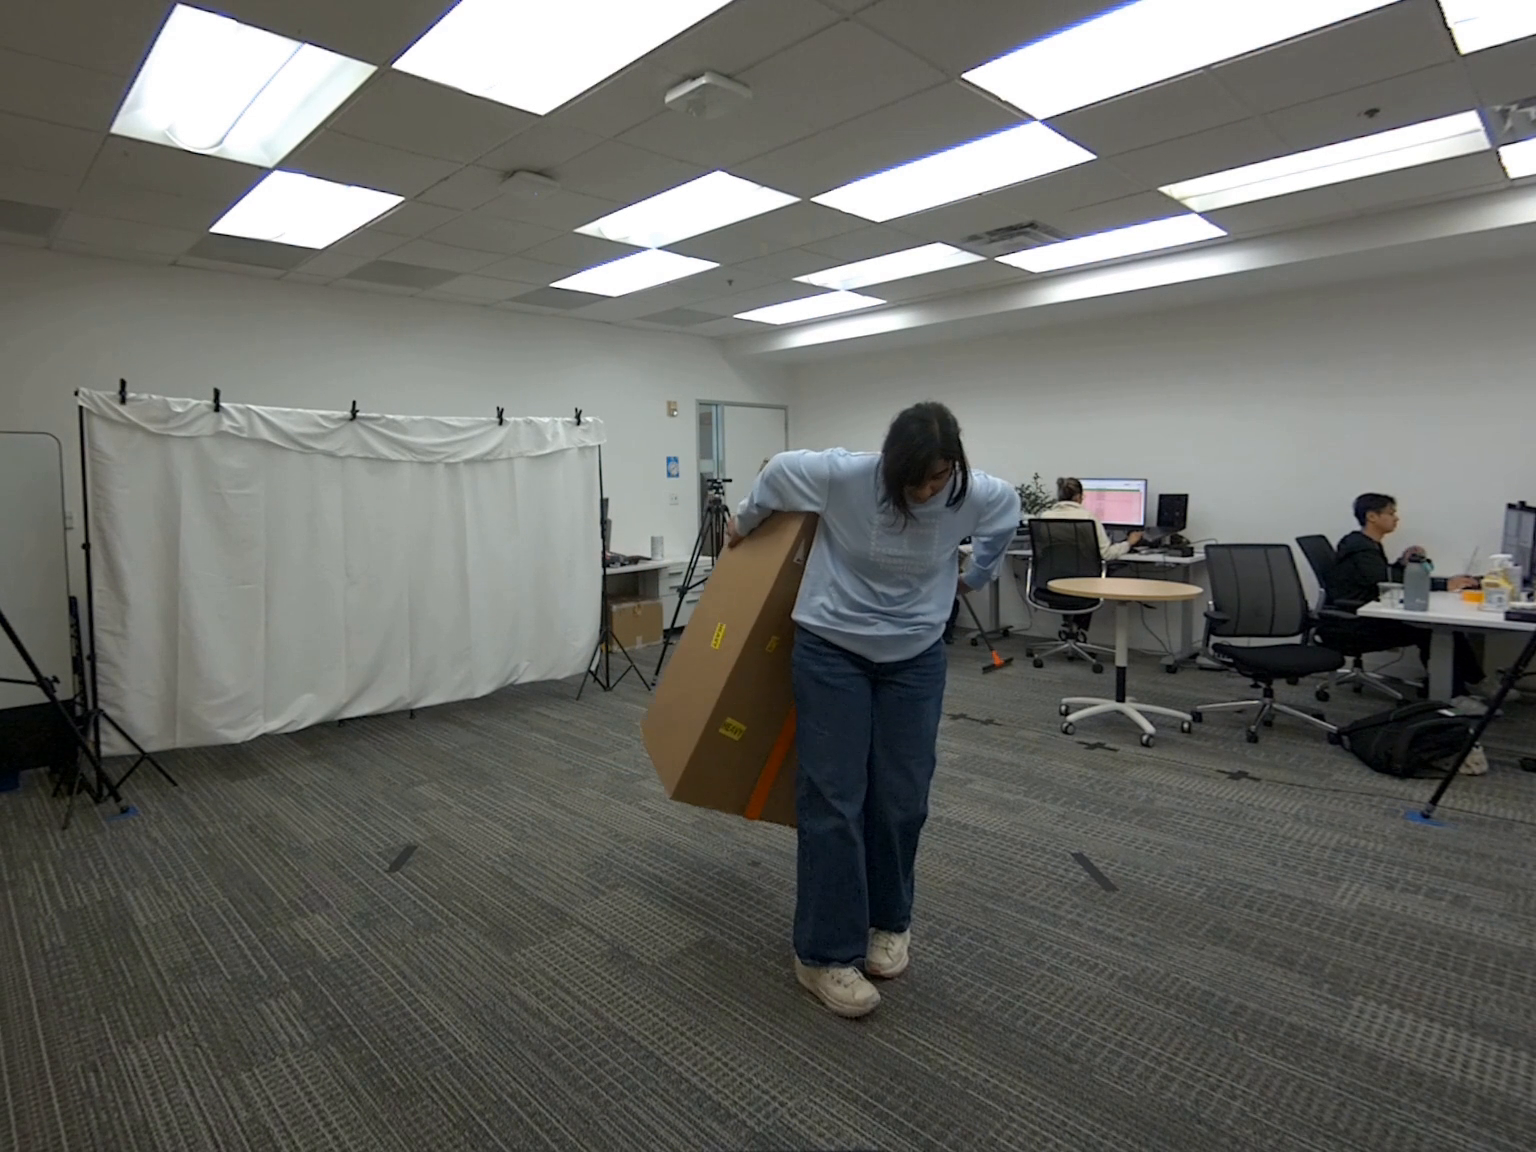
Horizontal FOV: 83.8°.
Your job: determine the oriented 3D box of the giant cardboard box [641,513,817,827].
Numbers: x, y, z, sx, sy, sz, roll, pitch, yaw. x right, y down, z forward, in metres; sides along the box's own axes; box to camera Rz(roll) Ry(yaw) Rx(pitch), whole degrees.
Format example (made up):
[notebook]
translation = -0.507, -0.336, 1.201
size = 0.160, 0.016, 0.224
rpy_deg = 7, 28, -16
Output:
[giant cardboard box]
translation = 0.083, 0.231, 2.753
size = 0.561, 1.022, 0.440
rpy_deg = 21, 10, -26
